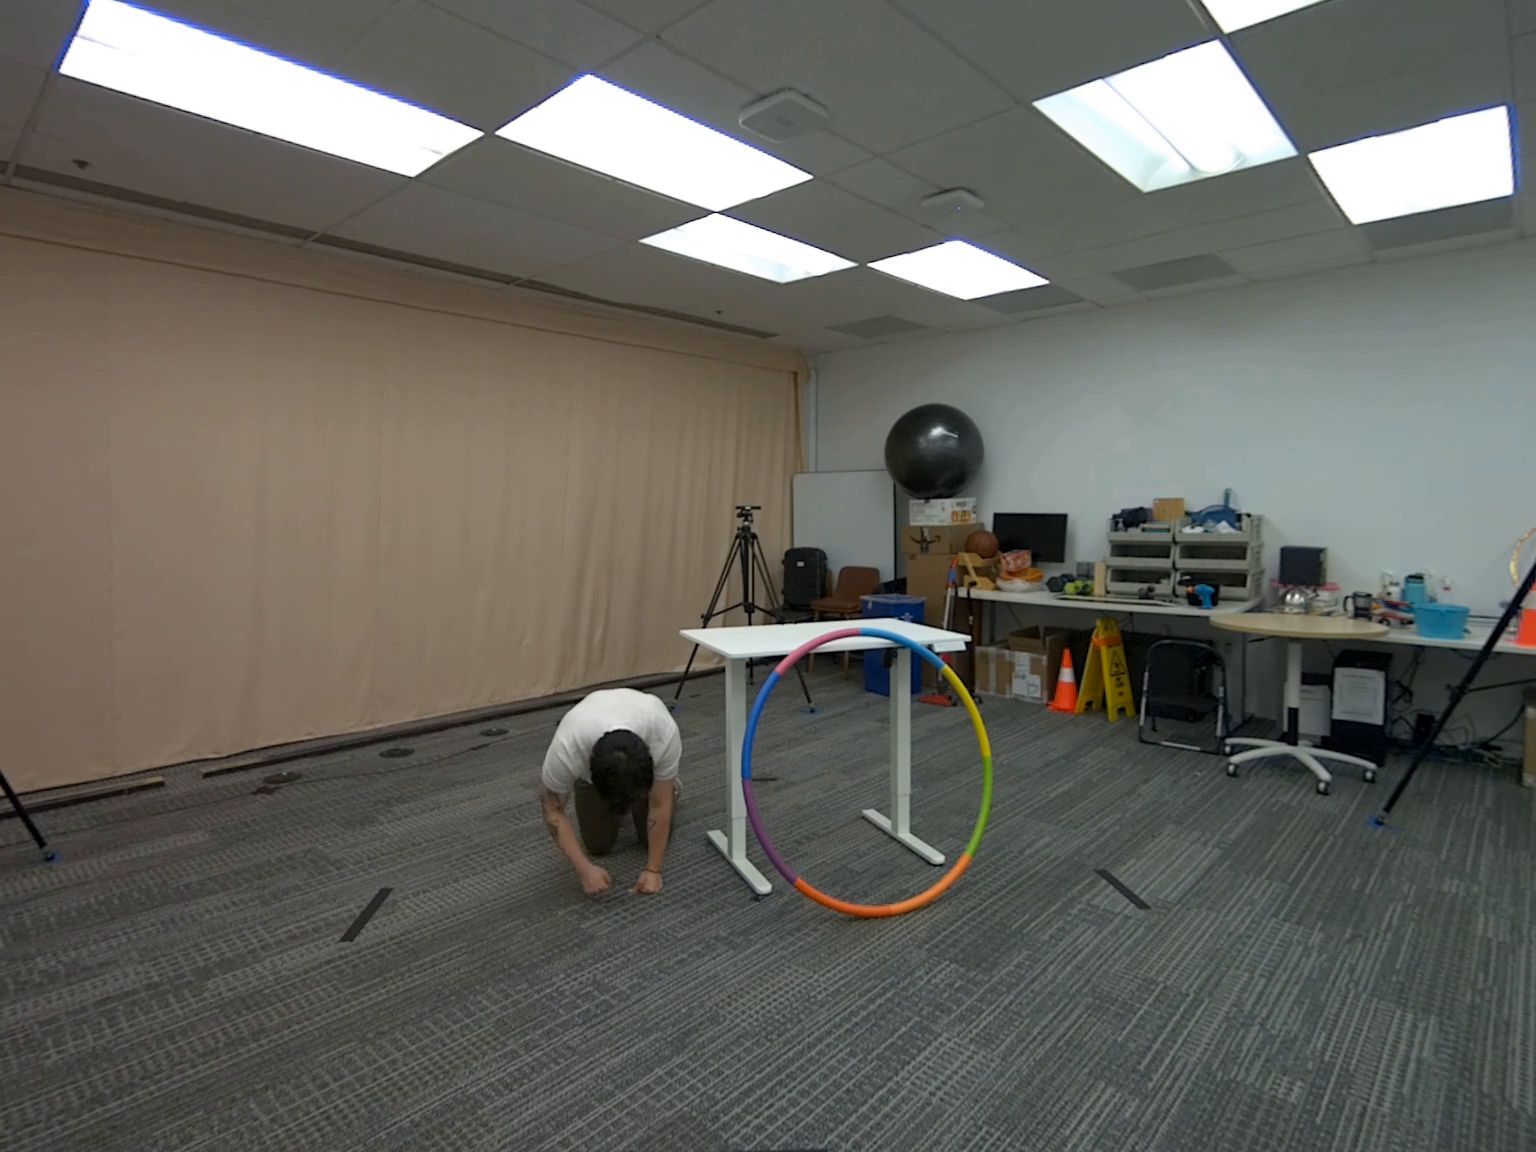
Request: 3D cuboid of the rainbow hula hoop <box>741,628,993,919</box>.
[{"bbox_3d":[0.386,0.679,2.962,0.959,0.987,0.036,-2,-13,-20],"label":"rainbow hula hoop"}]
